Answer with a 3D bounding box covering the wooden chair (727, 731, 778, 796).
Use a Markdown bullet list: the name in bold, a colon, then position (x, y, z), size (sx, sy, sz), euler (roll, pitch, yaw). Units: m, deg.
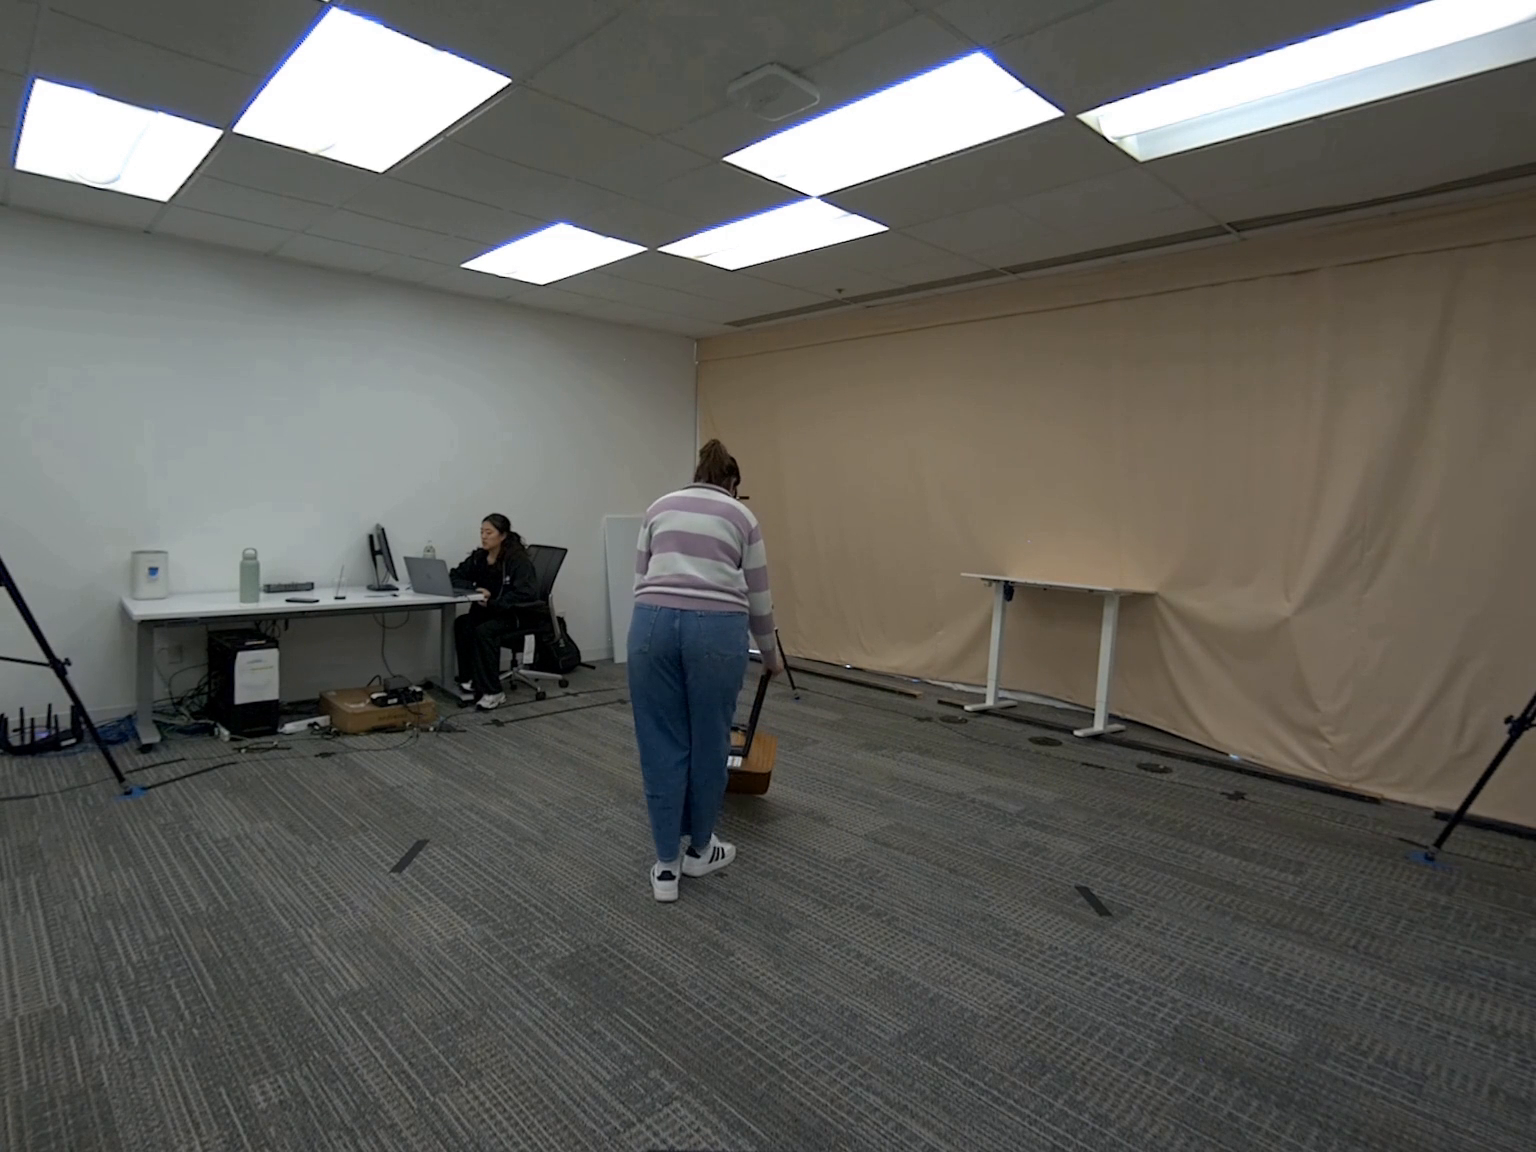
- **wooden chair**: position (-0.210, 0.705, 3.631), size (0.480, 0.867, 0.527), euler (3, 17, 4)
